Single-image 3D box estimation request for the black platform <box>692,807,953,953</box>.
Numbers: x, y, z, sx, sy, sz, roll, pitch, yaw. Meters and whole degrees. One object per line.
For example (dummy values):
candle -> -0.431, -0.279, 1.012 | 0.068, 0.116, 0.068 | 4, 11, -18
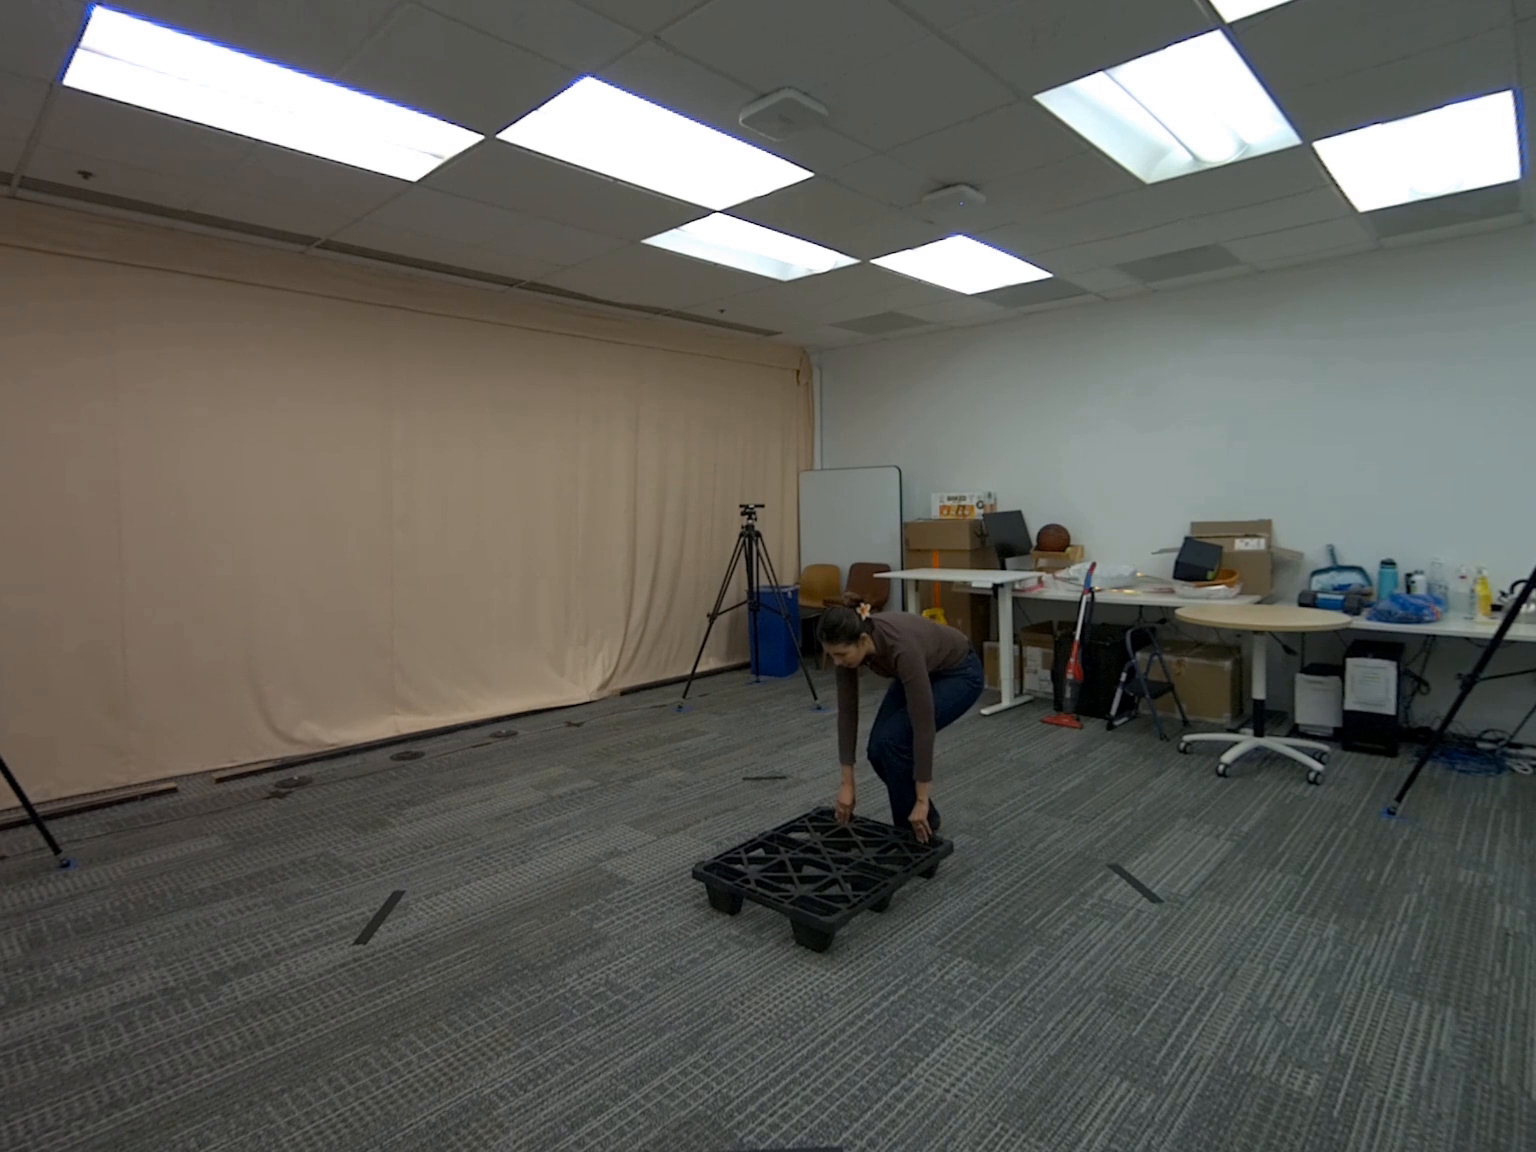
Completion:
black platform -> 0.216, 1.064, 3.023 | 0.625, 0.143, 0.782 | 4, 7, 40
